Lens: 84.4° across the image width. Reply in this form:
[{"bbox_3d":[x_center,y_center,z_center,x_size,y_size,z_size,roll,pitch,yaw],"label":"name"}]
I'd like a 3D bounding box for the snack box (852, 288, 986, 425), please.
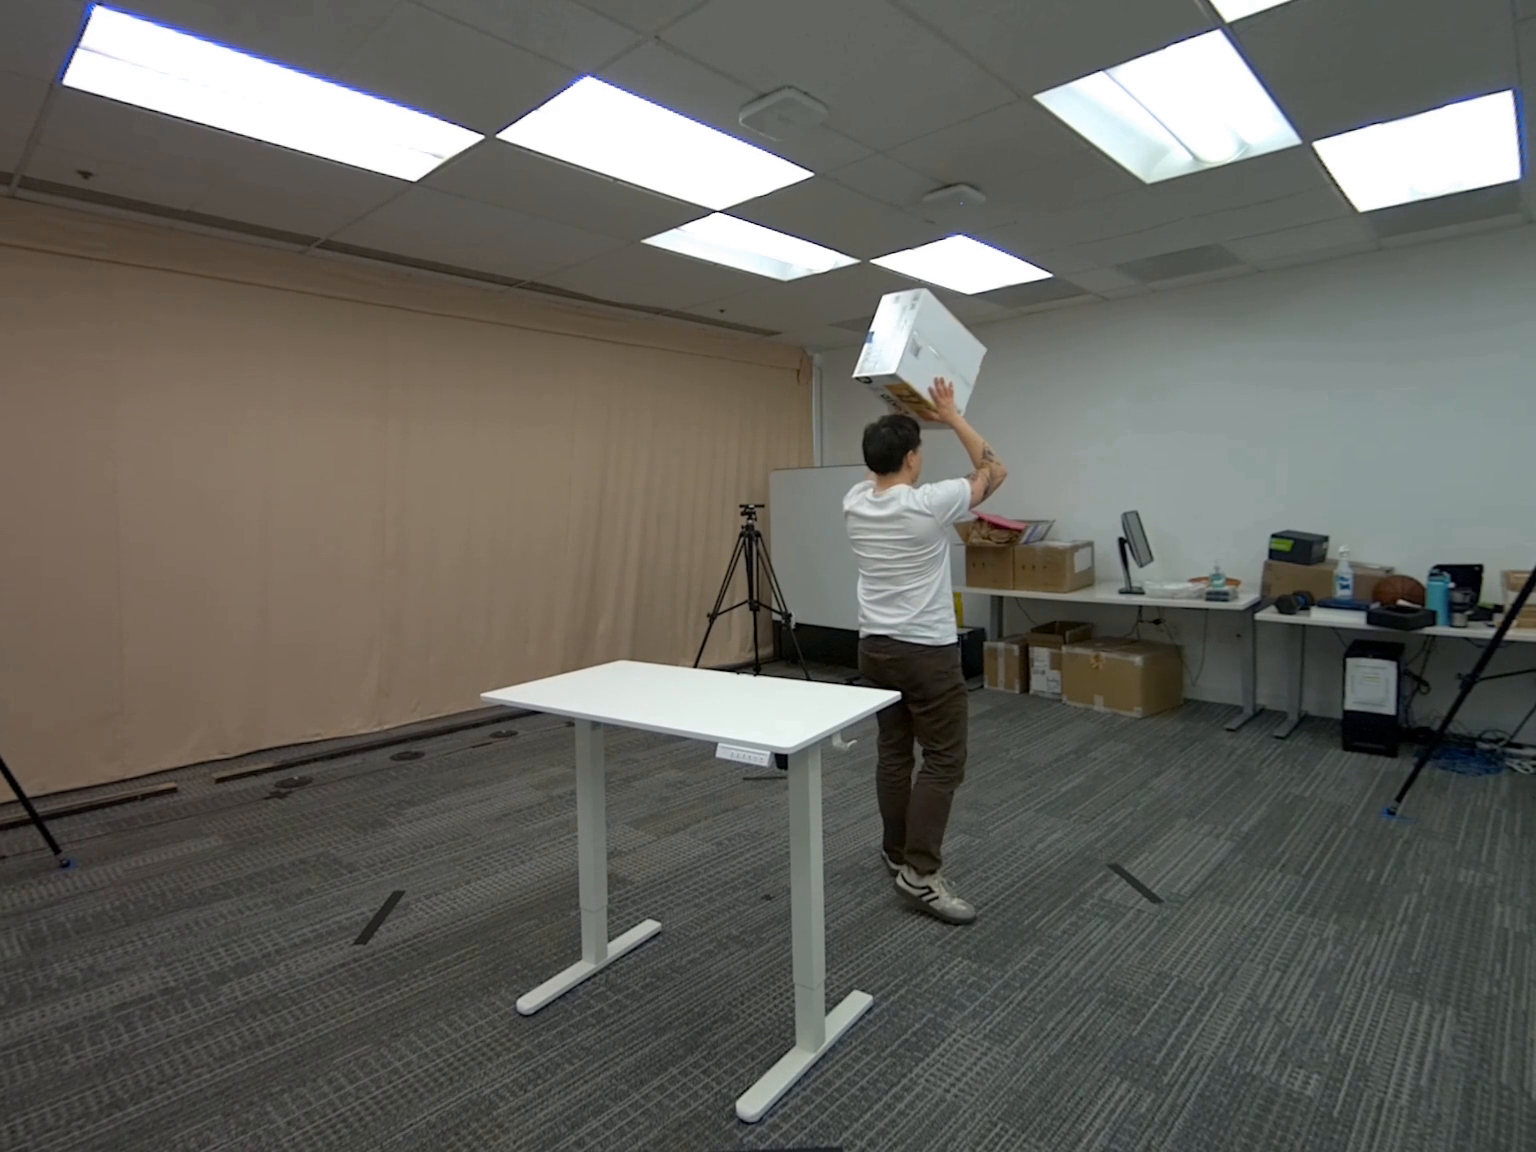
[{"bbox_3d":[0.566,-0.778,3.080,0.391,0.341,0.213,28,-12,-38],"label":"snack box"}]
